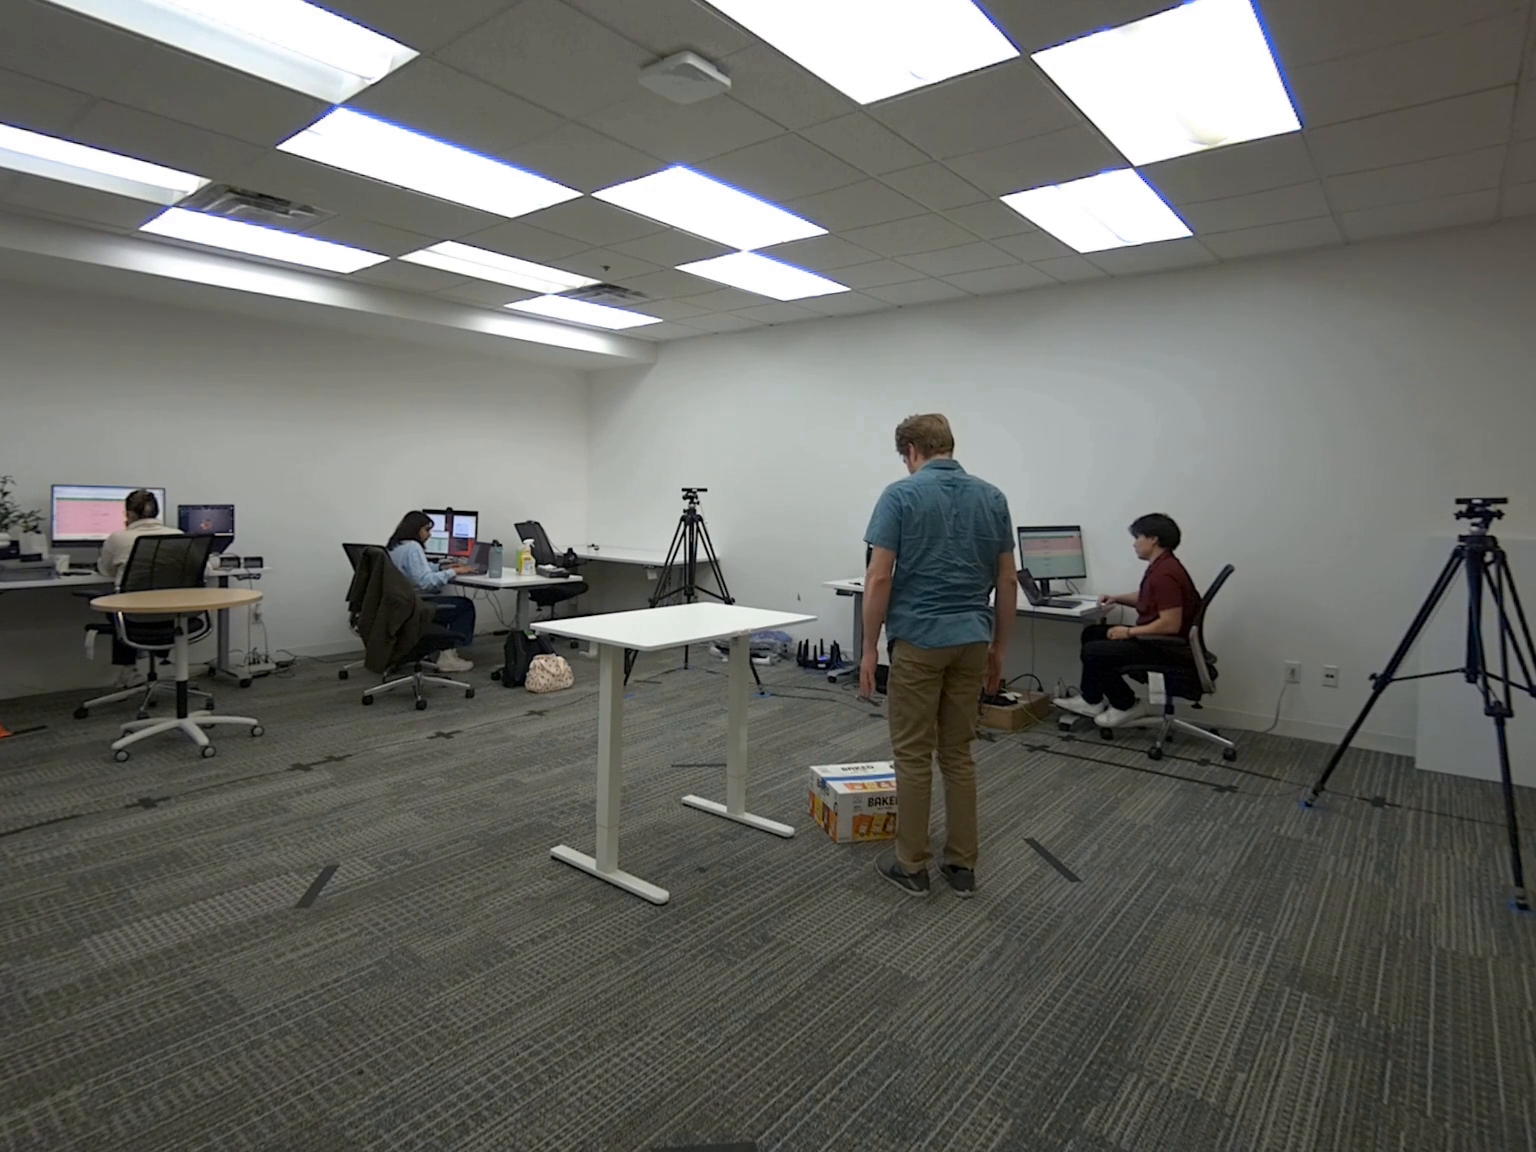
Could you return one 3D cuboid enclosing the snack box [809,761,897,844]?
[{"bbox_3d":[0.408,0.937,3.566,0.399,0.205,0.347,0,5,-16],"label":"snack box"}]
